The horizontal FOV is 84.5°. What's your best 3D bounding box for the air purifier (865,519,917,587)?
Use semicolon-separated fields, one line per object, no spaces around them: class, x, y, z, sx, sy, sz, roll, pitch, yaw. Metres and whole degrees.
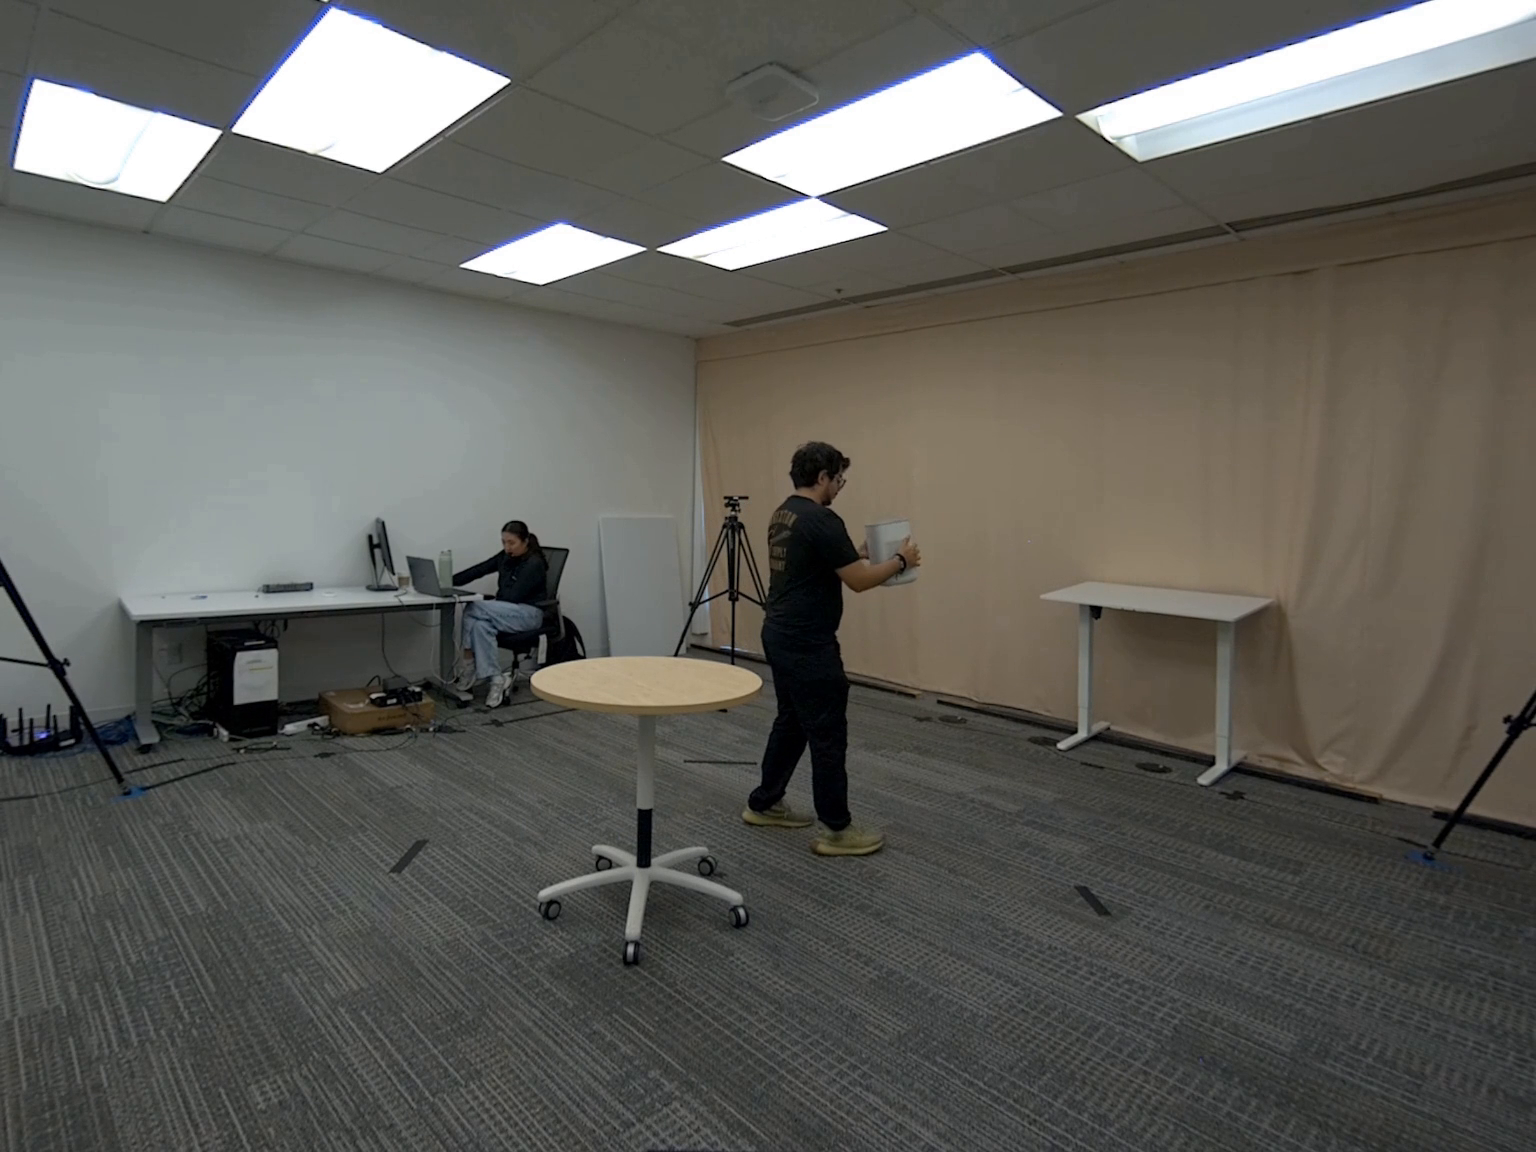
air purifier;0.511;-0.099;3.558;0.170;0.264;0.172;-10;4;-9
